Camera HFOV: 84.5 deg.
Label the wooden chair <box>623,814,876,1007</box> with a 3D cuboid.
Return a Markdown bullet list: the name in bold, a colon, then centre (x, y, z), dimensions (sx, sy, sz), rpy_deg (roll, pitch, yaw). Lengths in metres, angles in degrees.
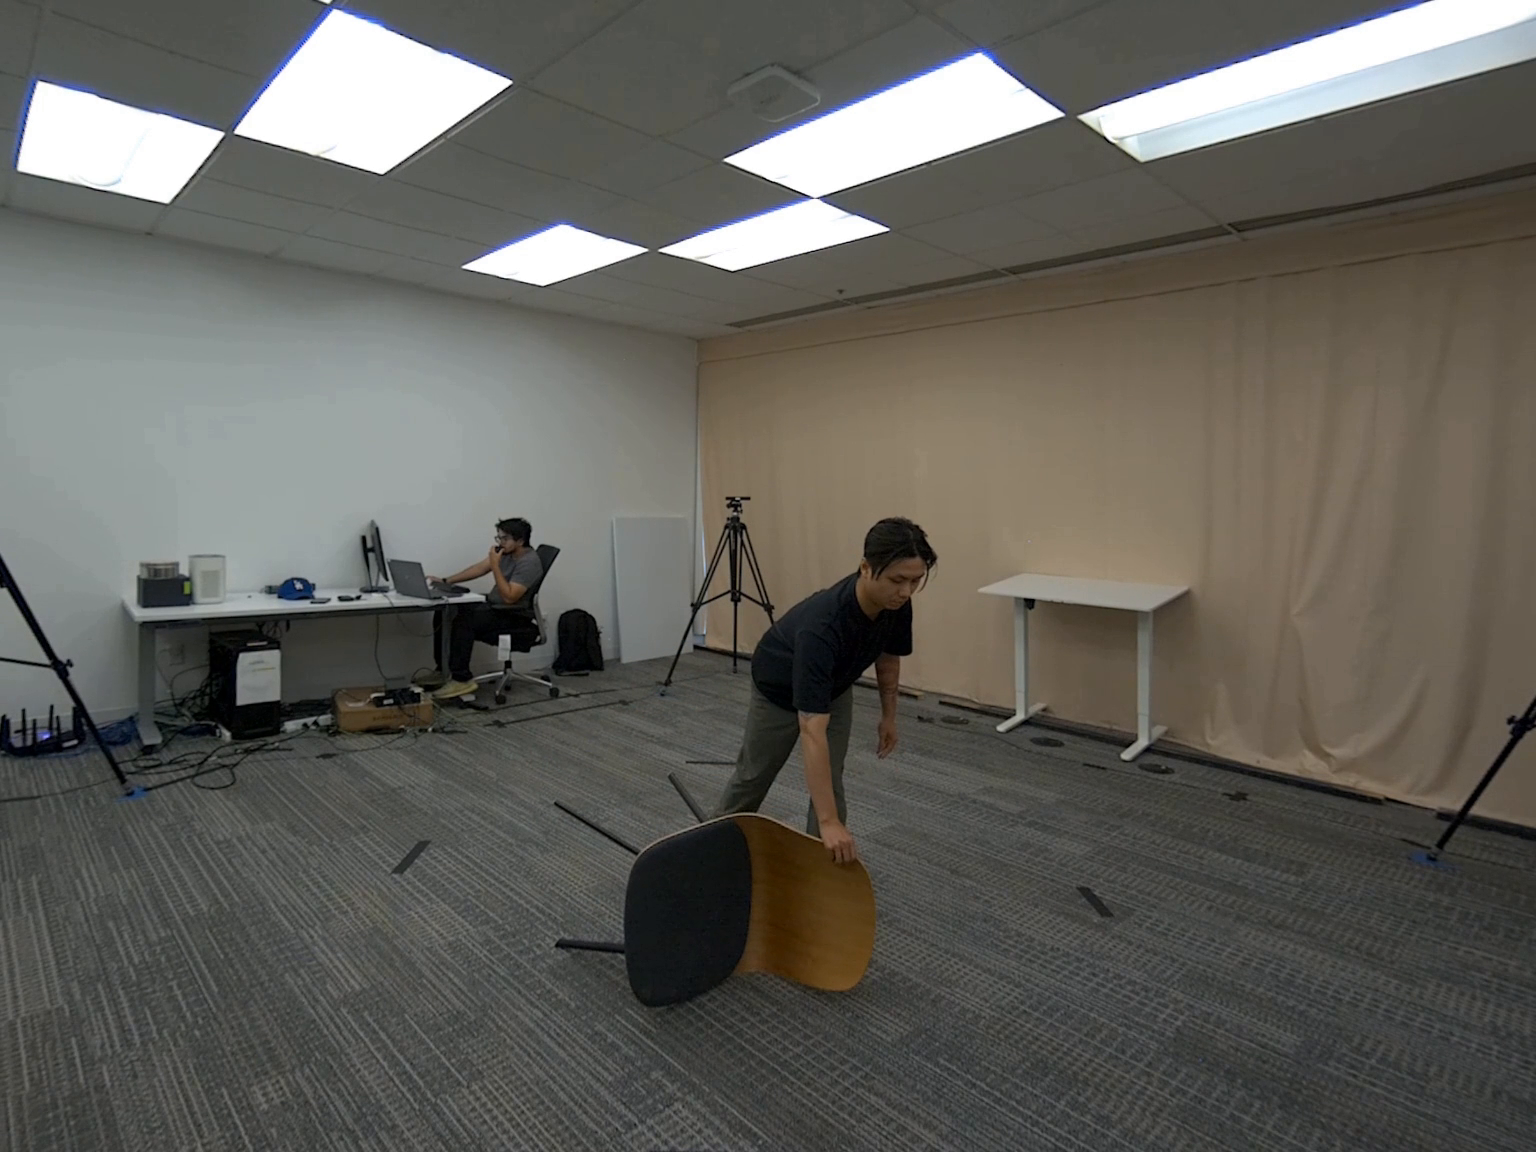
- **wooden chair**: centre (-0.206, 0.935, 2.408), dimensions (0.899, 0.477, 0.511), rpy_deg (4, 4, 43)
